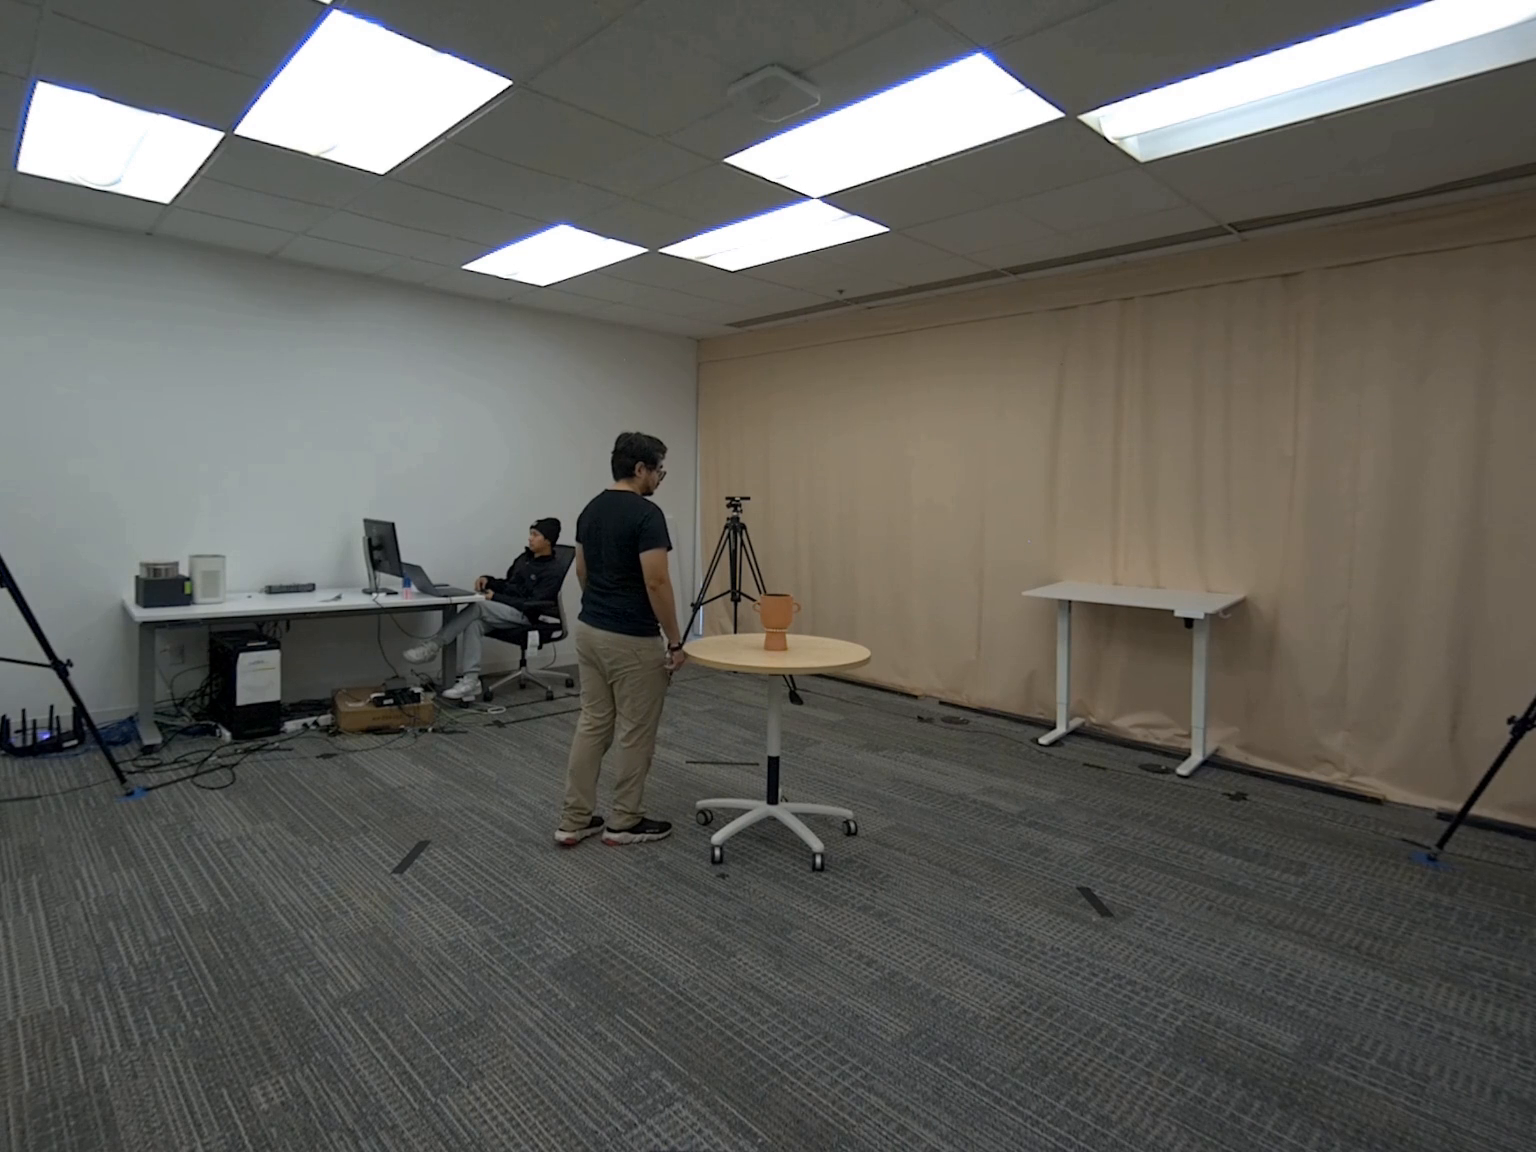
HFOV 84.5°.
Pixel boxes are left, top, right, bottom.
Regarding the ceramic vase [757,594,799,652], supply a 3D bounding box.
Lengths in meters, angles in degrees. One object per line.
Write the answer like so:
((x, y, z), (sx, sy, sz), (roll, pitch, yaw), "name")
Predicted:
((0.023, 0.187, 3.428), (0.162, 0.219, 0.132), (5, 5, 33), "ceramic vase")
